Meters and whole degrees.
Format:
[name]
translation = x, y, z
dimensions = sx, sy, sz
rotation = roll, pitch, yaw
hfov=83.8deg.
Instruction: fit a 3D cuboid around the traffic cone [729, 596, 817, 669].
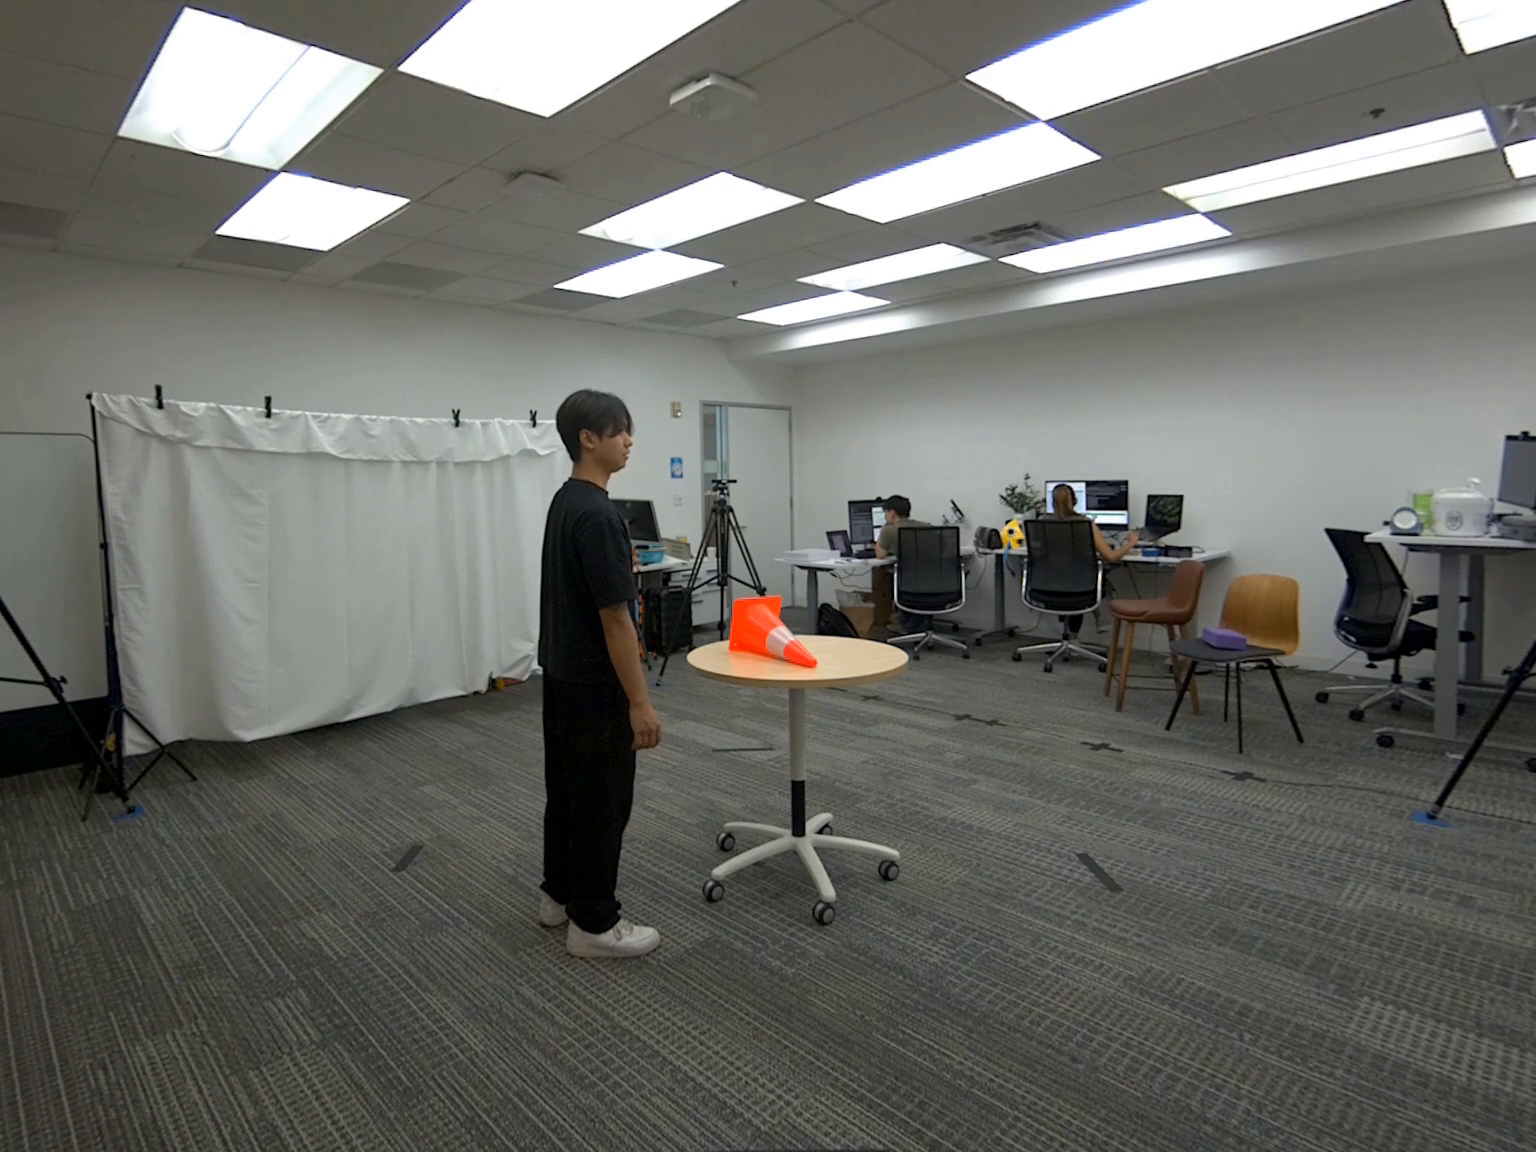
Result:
[traffic cone]
translation = 0.054, 0.229, 2.925
dimensions = 0.199, 0.202, 0.397
rotation = -5, 19, -30
